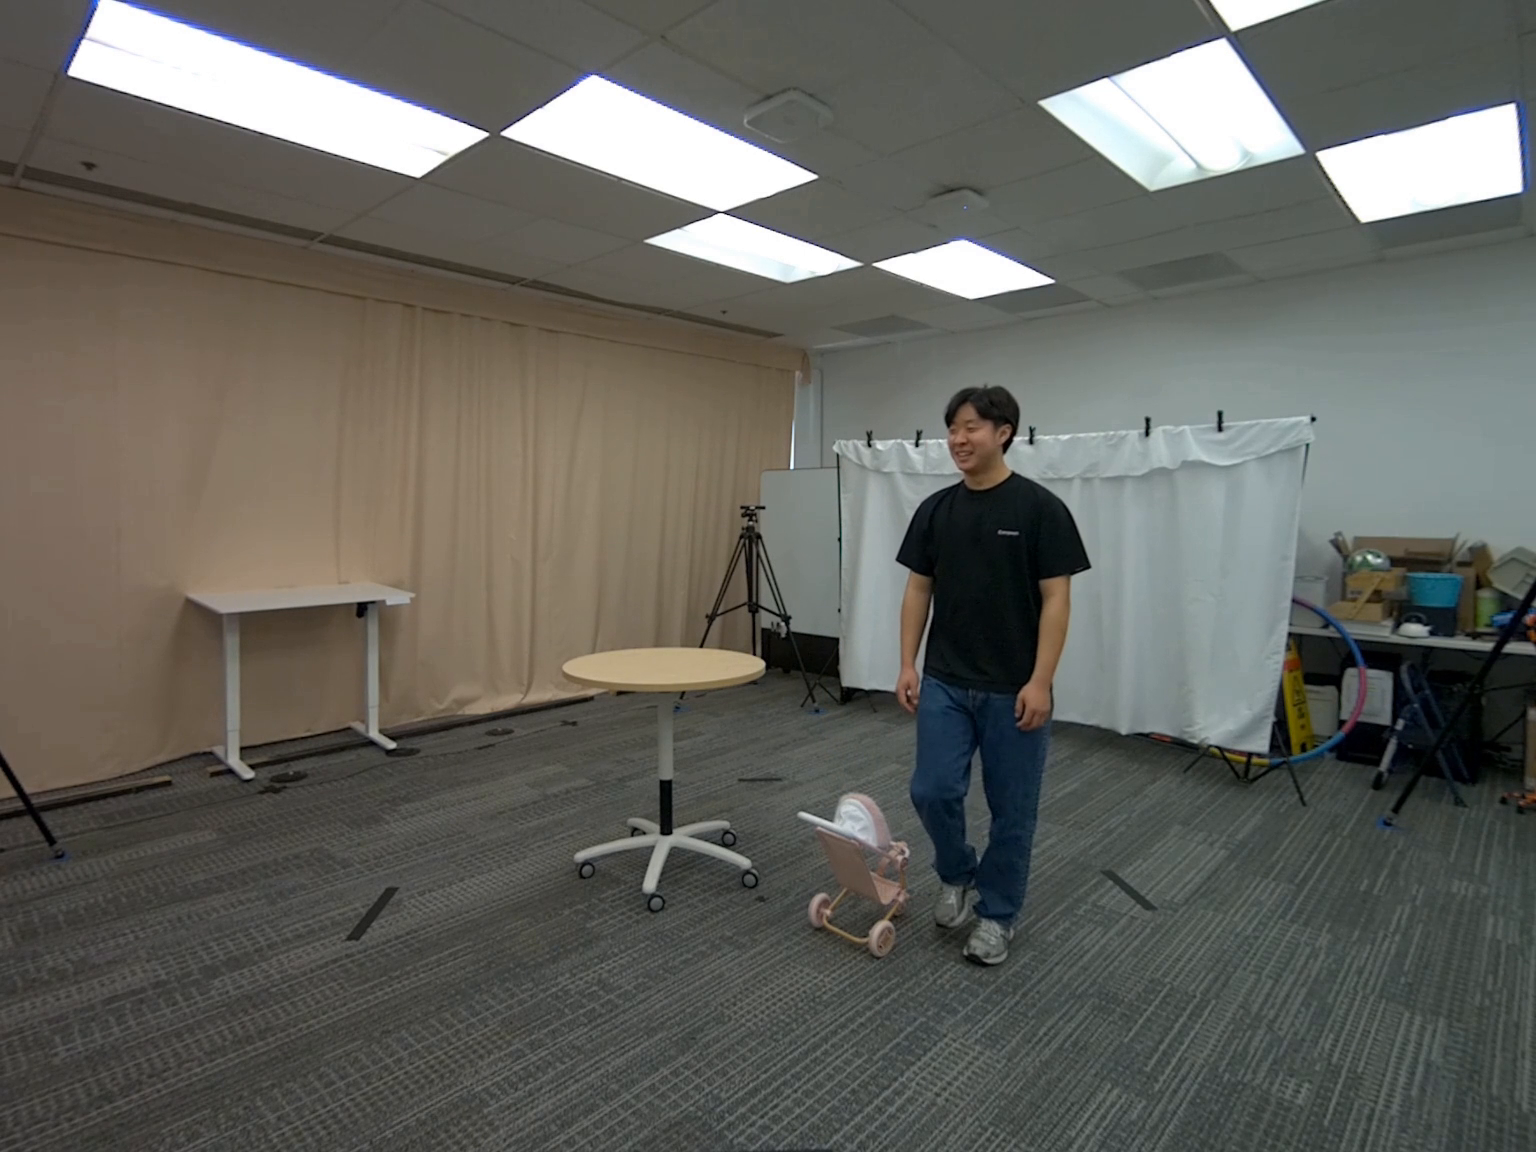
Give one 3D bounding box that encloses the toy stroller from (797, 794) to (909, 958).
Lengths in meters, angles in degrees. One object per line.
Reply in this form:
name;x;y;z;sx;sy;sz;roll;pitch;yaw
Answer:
toy stroller;0.312;0.940;2.724;0.334;0.529;0.291;-22;16;-36
